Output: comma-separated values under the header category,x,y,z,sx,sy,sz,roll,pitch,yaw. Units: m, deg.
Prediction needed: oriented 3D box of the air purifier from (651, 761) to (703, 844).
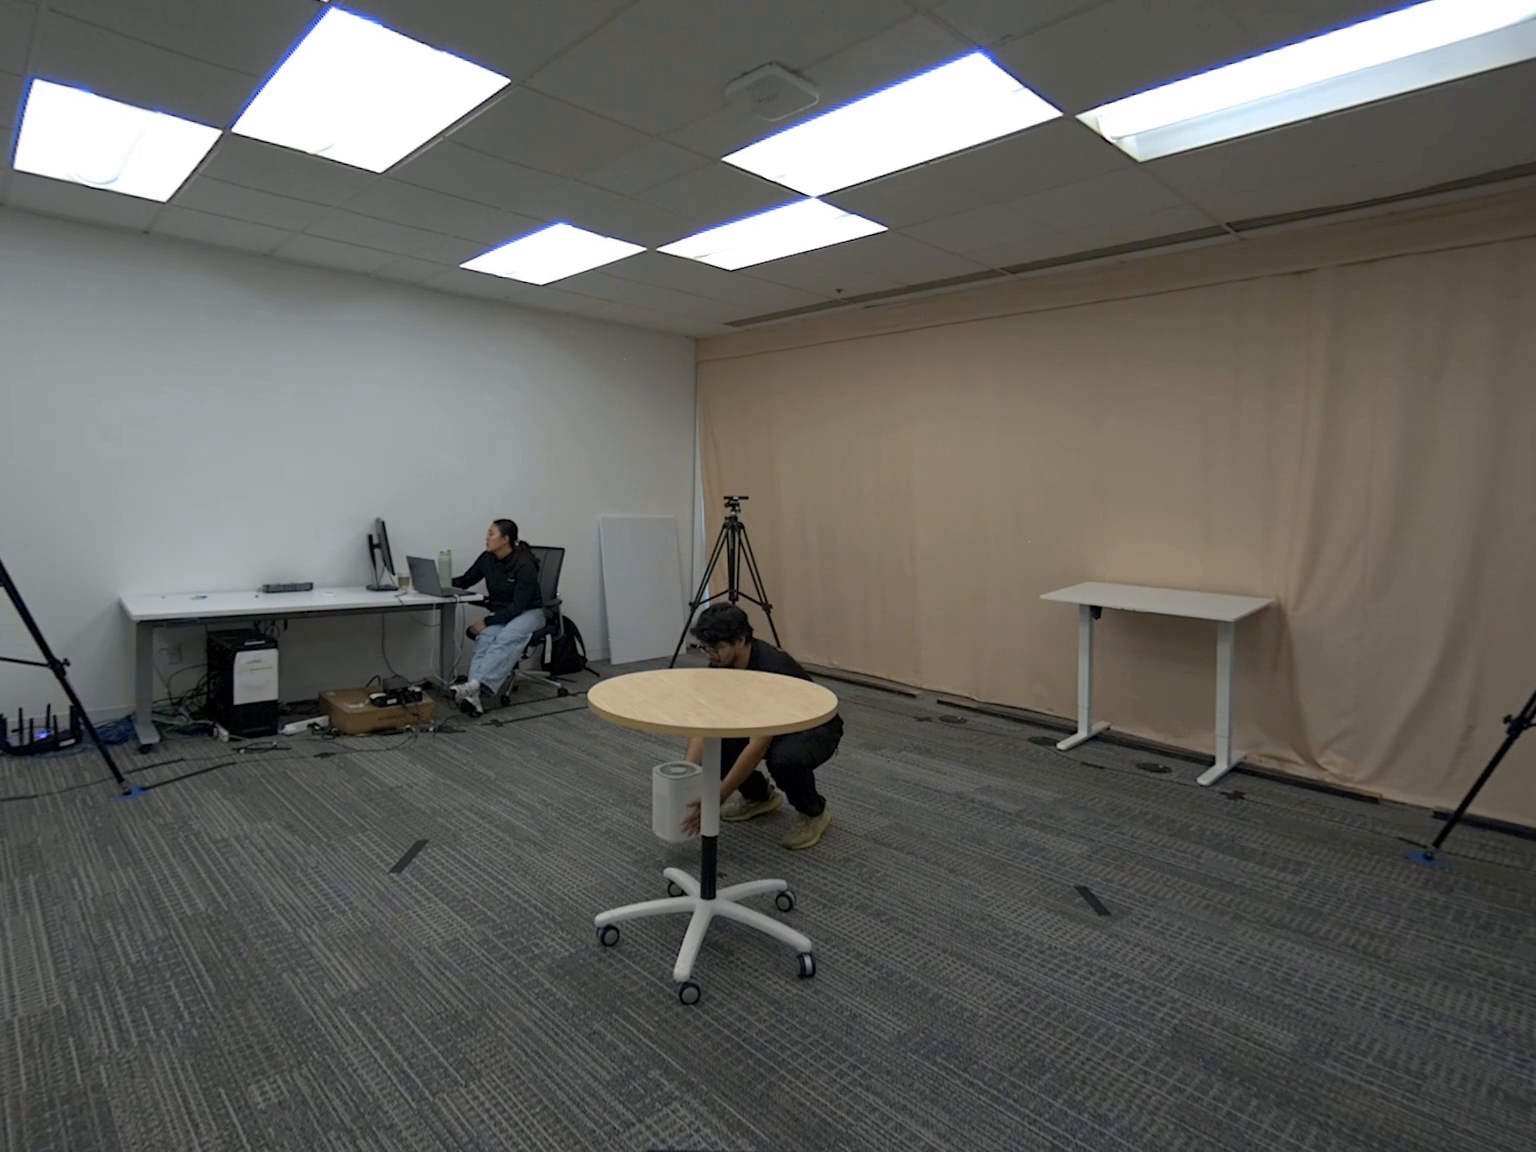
category,x,y,z,sx,sy,sz,roll,pitch,yaw
air purifier,-0.358,0.863,3.213,0.167,0.264,0.176,-3,7,-39
